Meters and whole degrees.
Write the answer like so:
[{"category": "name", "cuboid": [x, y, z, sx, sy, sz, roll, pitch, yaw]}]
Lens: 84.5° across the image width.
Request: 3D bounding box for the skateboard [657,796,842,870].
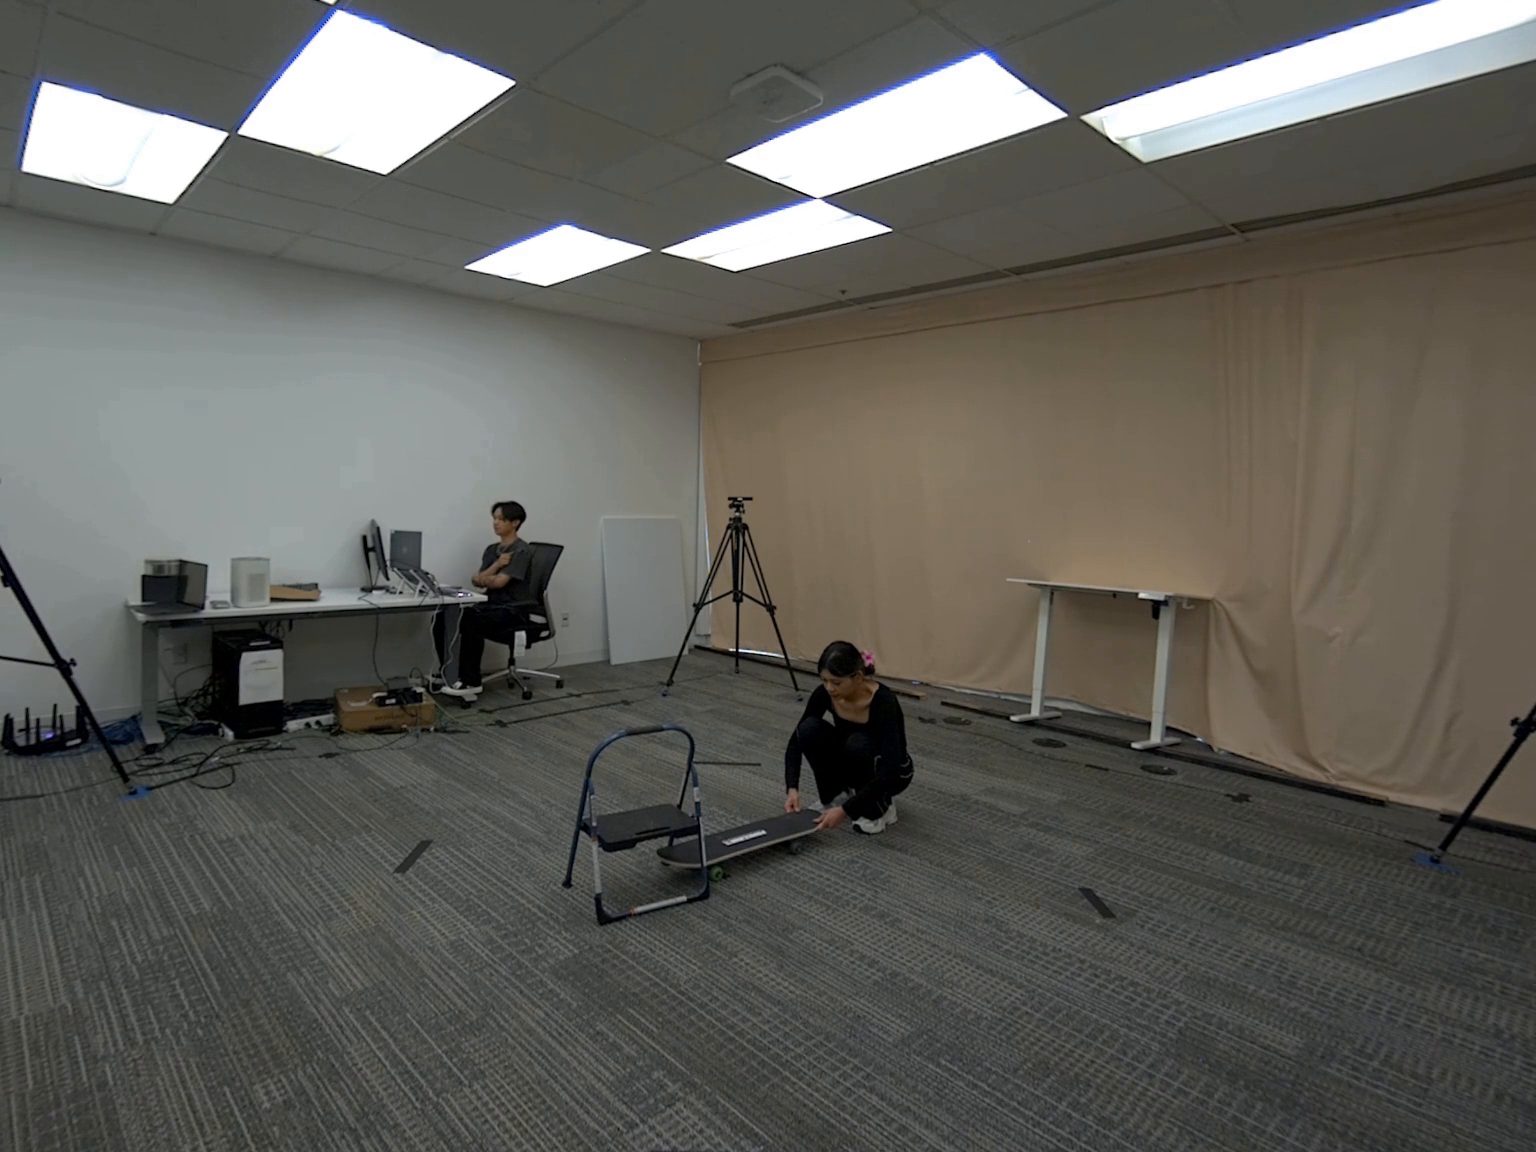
[{"category": "skateboard", "cuboid": [-0.095, 1.037, 3.240, 0.767, 0.110, 0.198, -2, 6, -40]}]
